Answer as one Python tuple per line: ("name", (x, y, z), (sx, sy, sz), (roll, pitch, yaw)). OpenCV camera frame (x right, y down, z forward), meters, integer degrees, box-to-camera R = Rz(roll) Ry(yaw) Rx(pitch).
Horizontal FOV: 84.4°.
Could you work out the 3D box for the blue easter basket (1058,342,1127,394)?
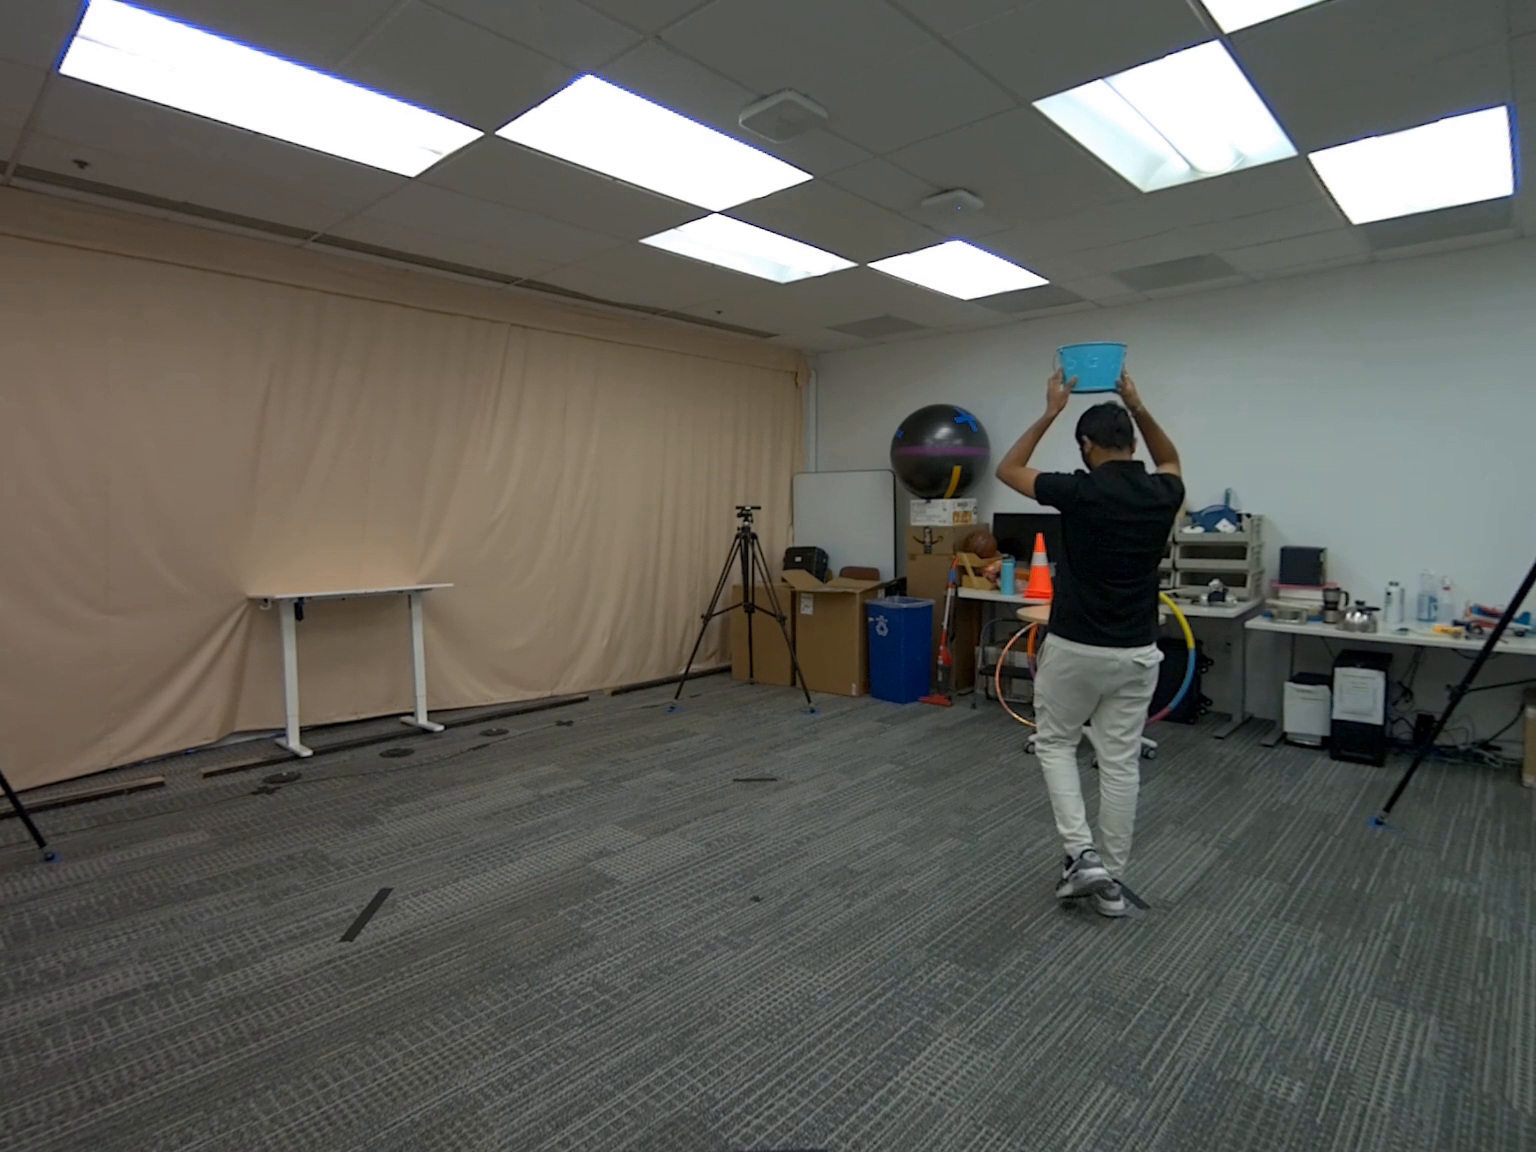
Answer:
("blue easter basket", (1.179, -0.741, 3.005), (0.243, 0.155, 0.244), (1, 4, -2))
